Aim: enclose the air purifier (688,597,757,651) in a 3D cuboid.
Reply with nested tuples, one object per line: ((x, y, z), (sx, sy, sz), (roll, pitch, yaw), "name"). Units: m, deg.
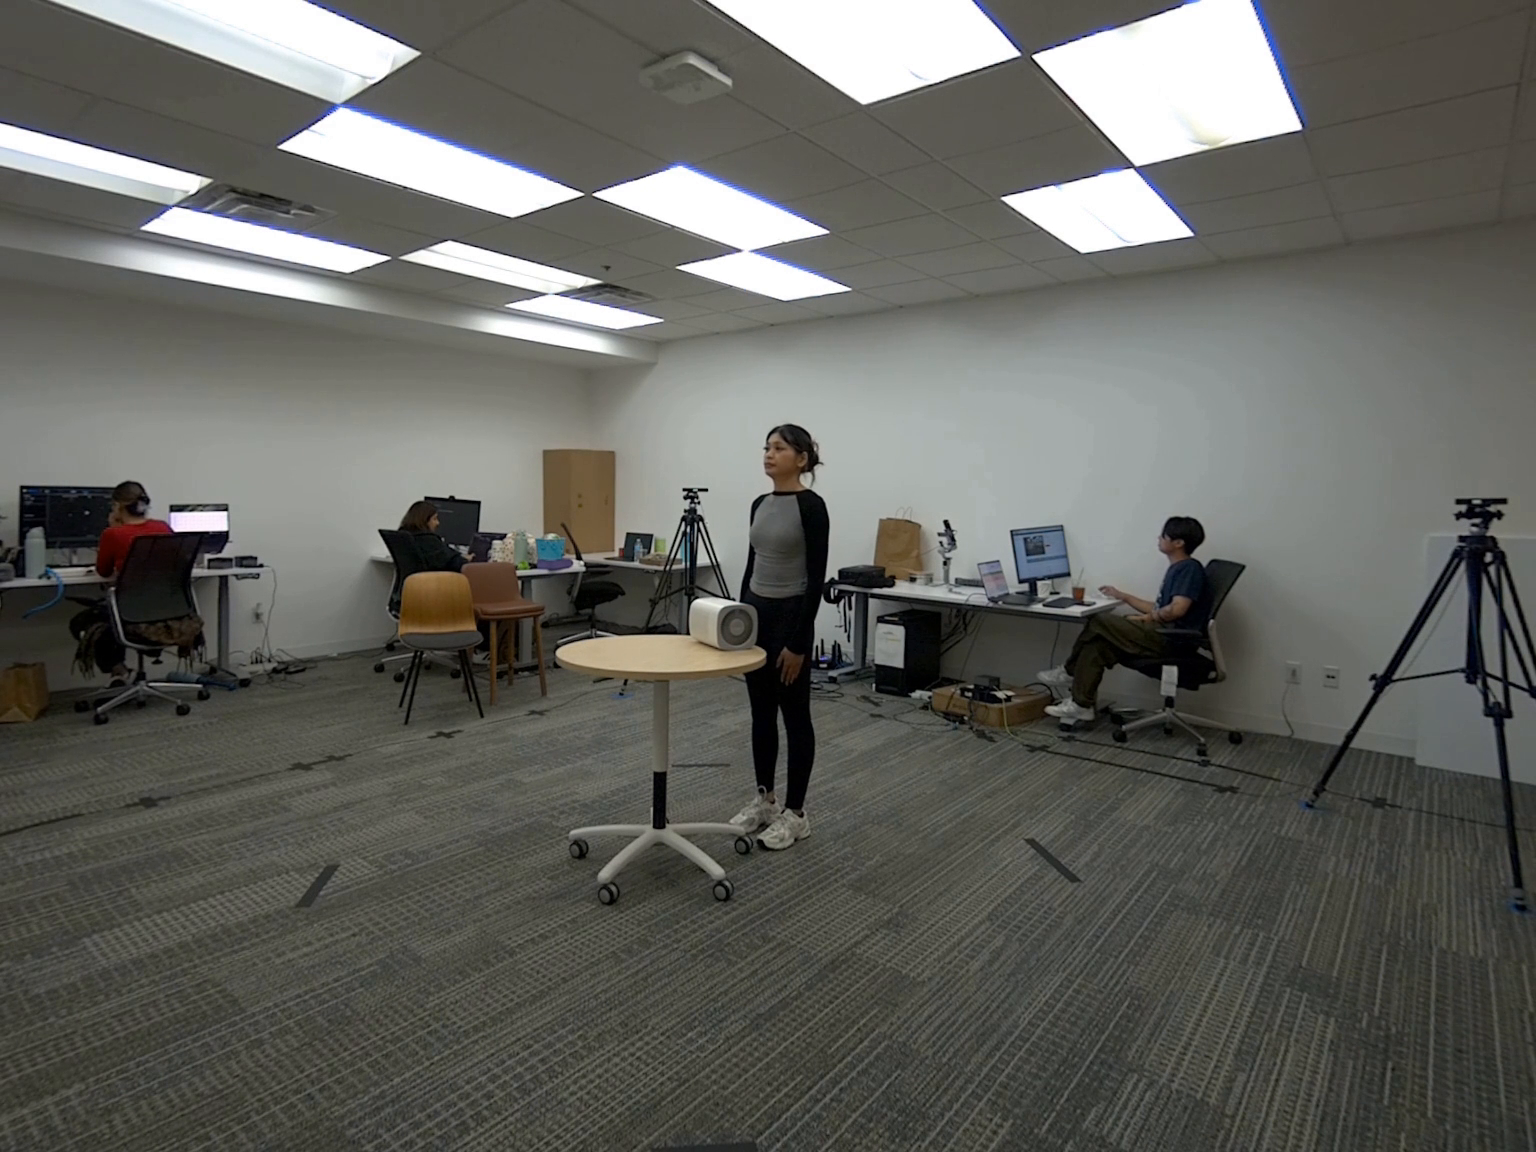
((-0.191, 0.175, 3.265), (0.166, 0.171, 0.273), (-1, 4, -30), "air purifier")
